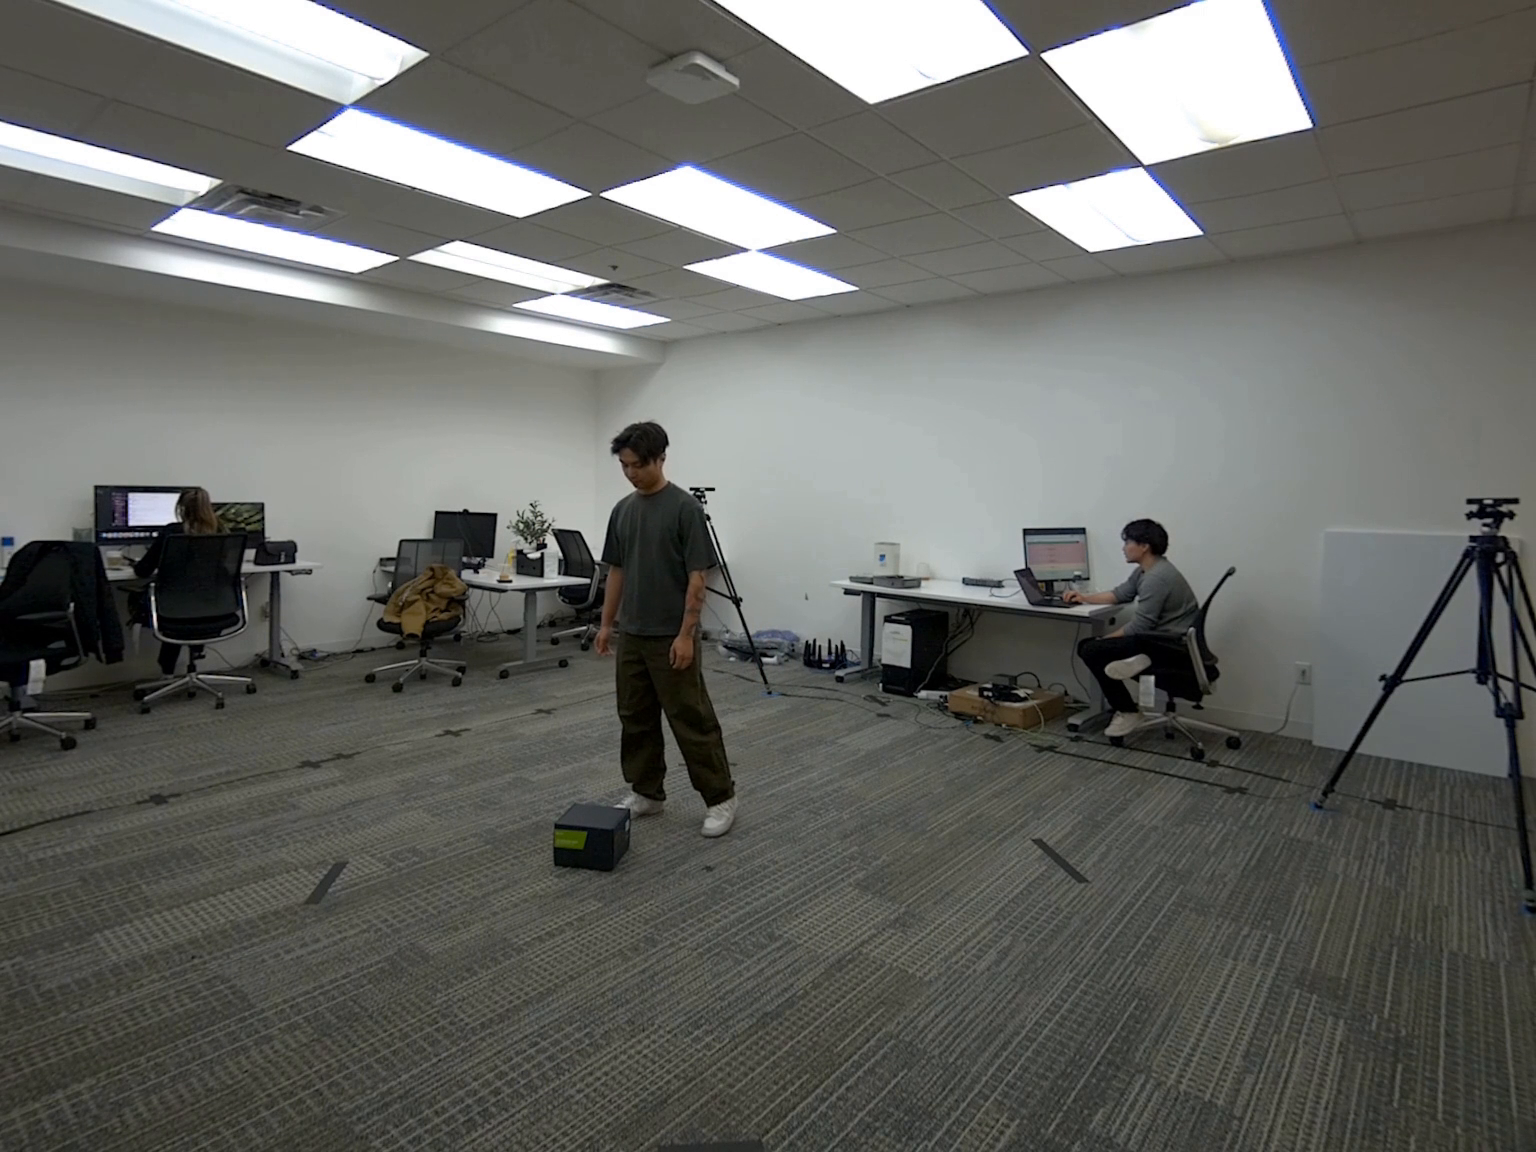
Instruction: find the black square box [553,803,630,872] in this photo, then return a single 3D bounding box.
[{"bbox_3d":[-0.669,0.966,3.181,0.230,0.155,0.215,2,5,9],"label":"black square box"}]
